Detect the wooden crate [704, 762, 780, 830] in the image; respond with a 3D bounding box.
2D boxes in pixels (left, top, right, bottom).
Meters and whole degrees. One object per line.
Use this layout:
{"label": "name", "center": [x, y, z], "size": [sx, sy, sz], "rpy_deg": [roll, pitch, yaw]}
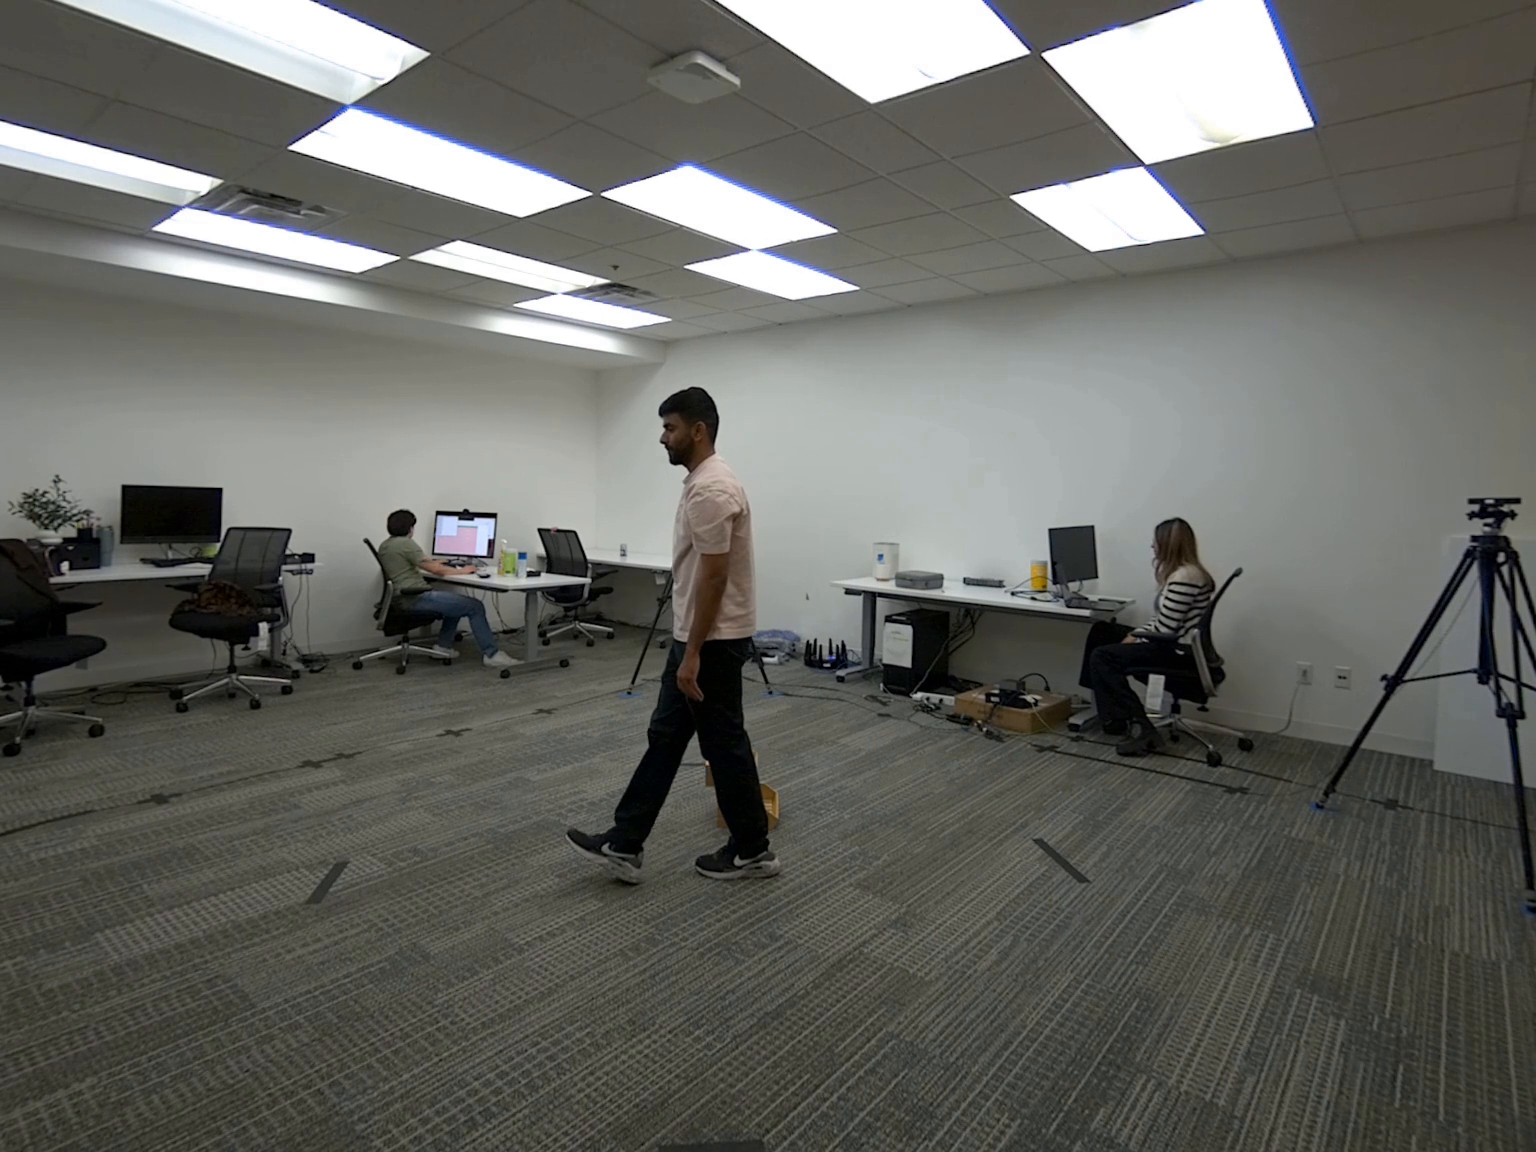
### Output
{"label": "wooden crate", "center": [-0.106, 0.877, 3.621], "size": [0.303, 0.272, 0.325], "rpy_deg": [1, 4, 1]}
